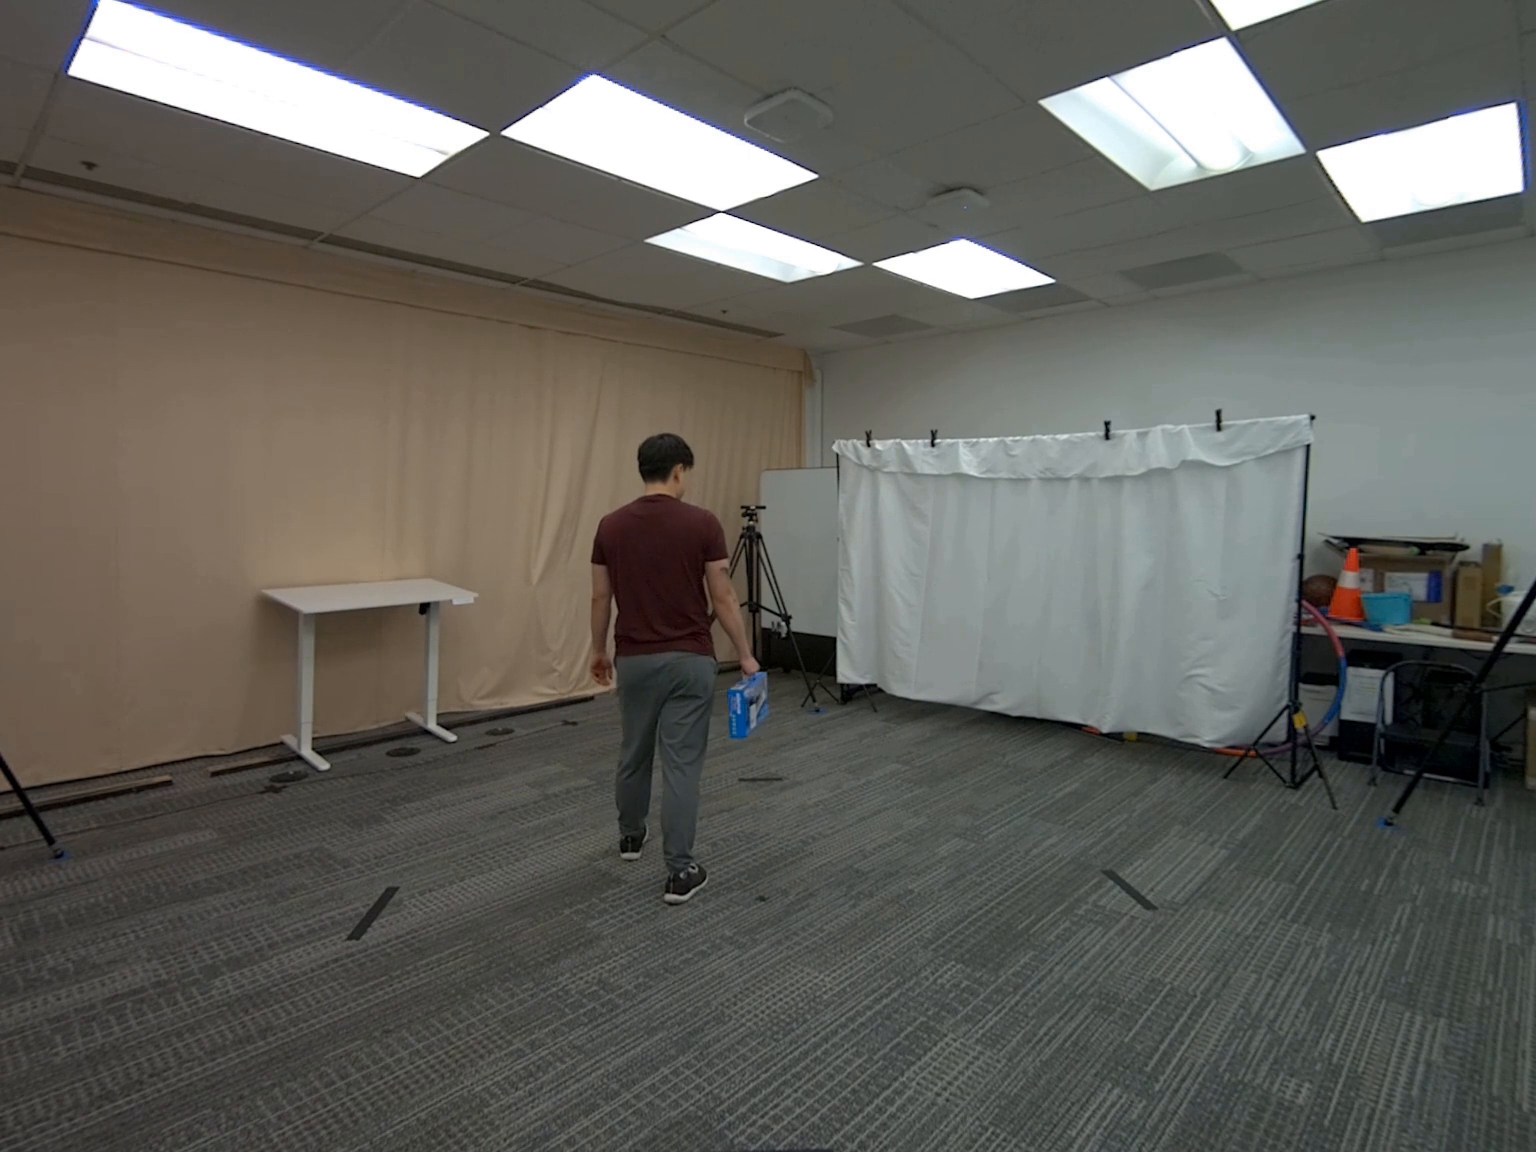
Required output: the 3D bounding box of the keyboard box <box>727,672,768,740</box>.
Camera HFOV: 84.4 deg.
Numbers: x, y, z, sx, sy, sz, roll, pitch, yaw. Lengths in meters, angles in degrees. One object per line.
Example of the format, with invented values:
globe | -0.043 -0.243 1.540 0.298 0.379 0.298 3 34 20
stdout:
keyboard box | -0.069 0.474 3.182 0.060 0.176 0.431 -2 1 11
